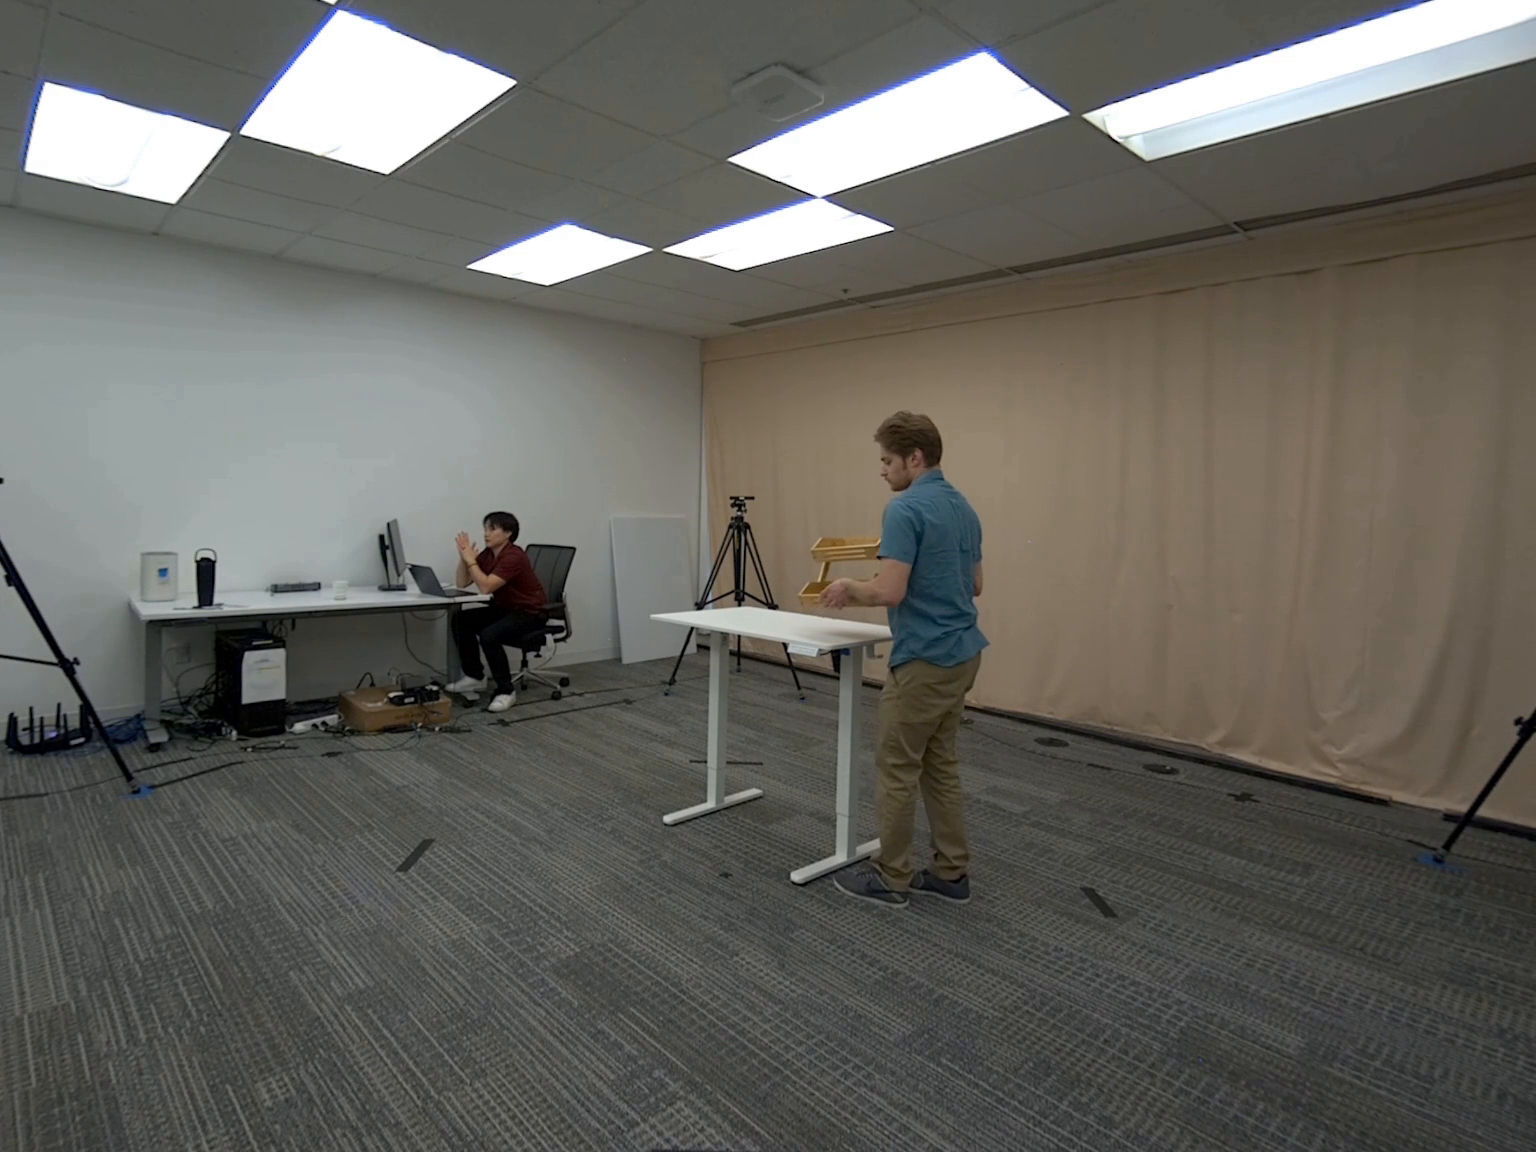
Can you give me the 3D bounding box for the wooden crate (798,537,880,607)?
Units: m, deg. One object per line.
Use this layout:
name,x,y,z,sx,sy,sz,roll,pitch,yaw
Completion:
wooden crate,0.308,-0.022,3.146,0.332,0.273,0.295,-3,-1,41
